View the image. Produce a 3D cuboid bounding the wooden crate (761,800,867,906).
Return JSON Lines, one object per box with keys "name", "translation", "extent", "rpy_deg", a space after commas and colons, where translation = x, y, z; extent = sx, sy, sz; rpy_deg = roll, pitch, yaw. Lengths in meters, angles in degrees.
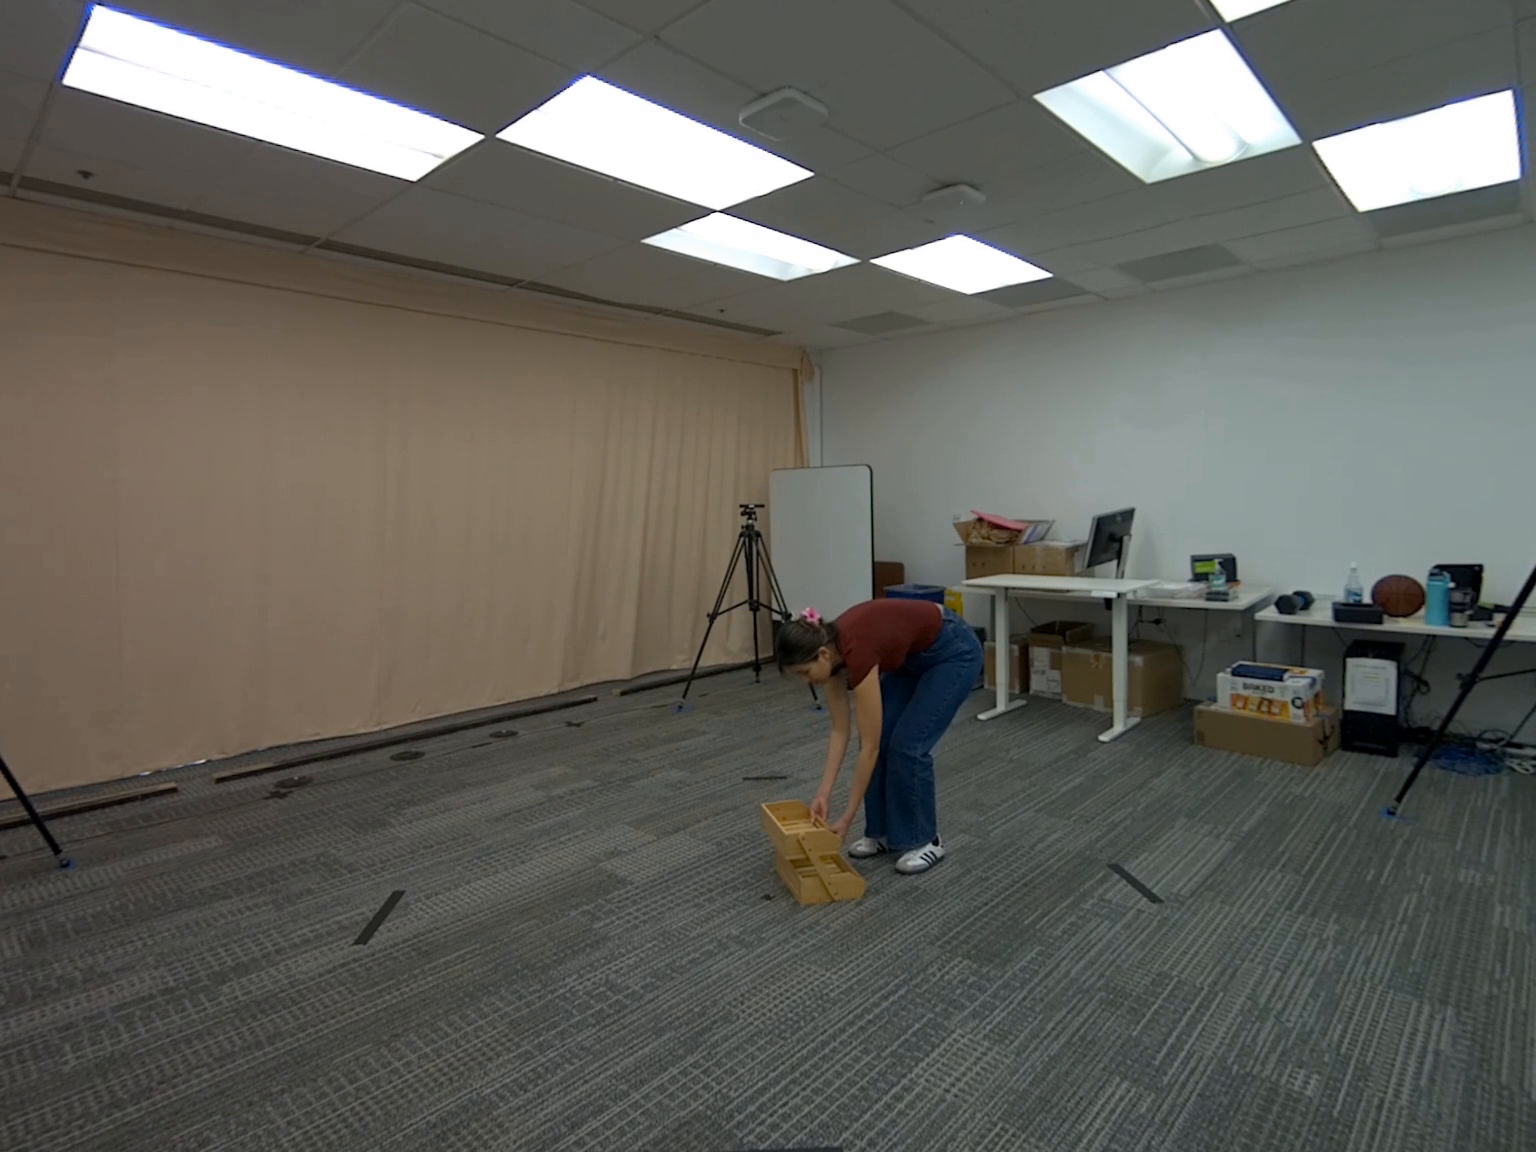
{"name": "wooden crate", "translation": [0.160, 0.992, 3.073], "extent": [0.297, 0.272, 0.330], "rpy_deg": [-2, 4, -16]}
